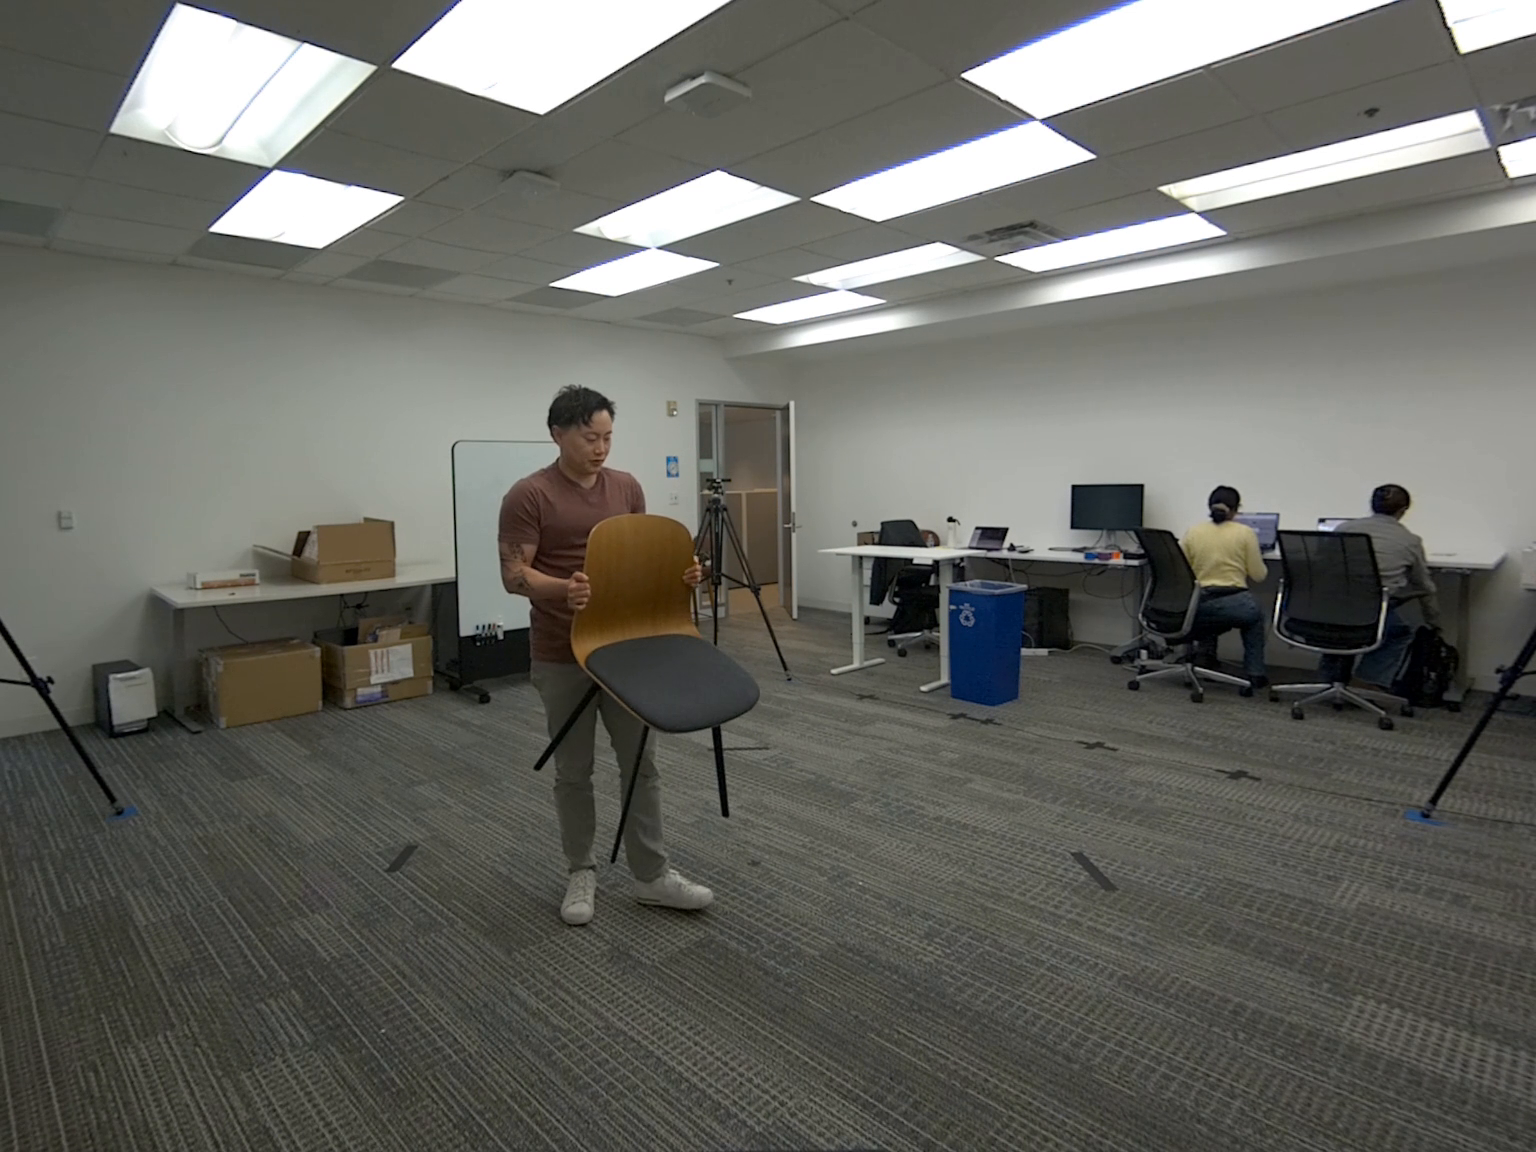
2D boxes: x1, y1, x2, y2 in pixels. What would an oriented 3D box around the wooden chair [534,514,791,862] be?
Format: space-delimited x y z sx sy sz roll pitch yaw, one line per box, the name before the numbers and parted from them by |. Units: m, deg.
wooden chair | -0.314 0.318 2.554 0.465 0.867 0.543 -6 25 -44
